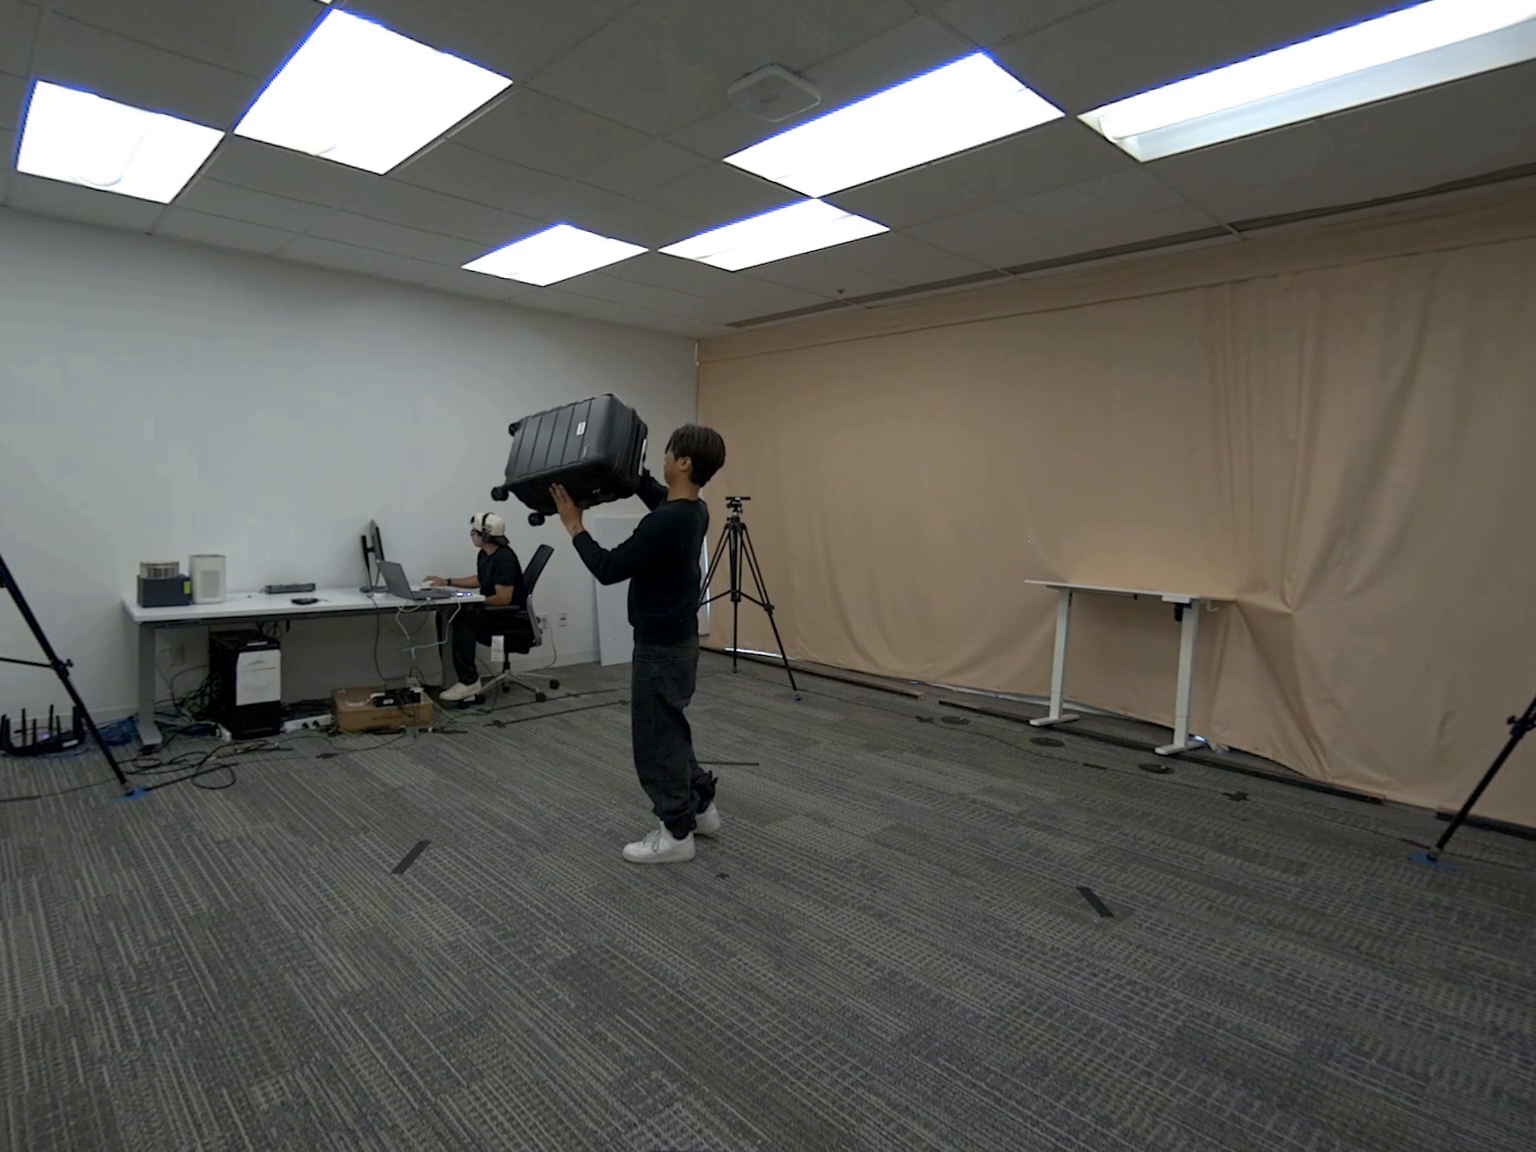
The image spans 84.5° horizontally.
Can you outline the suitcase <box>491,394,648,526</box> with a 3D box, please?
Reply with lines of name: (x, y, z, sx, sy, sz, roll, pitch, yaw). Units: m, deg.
suitcase: (-0.734, -0.446, 3.173, 0.558, 0.381, 0.240, -10, -30, 30)
